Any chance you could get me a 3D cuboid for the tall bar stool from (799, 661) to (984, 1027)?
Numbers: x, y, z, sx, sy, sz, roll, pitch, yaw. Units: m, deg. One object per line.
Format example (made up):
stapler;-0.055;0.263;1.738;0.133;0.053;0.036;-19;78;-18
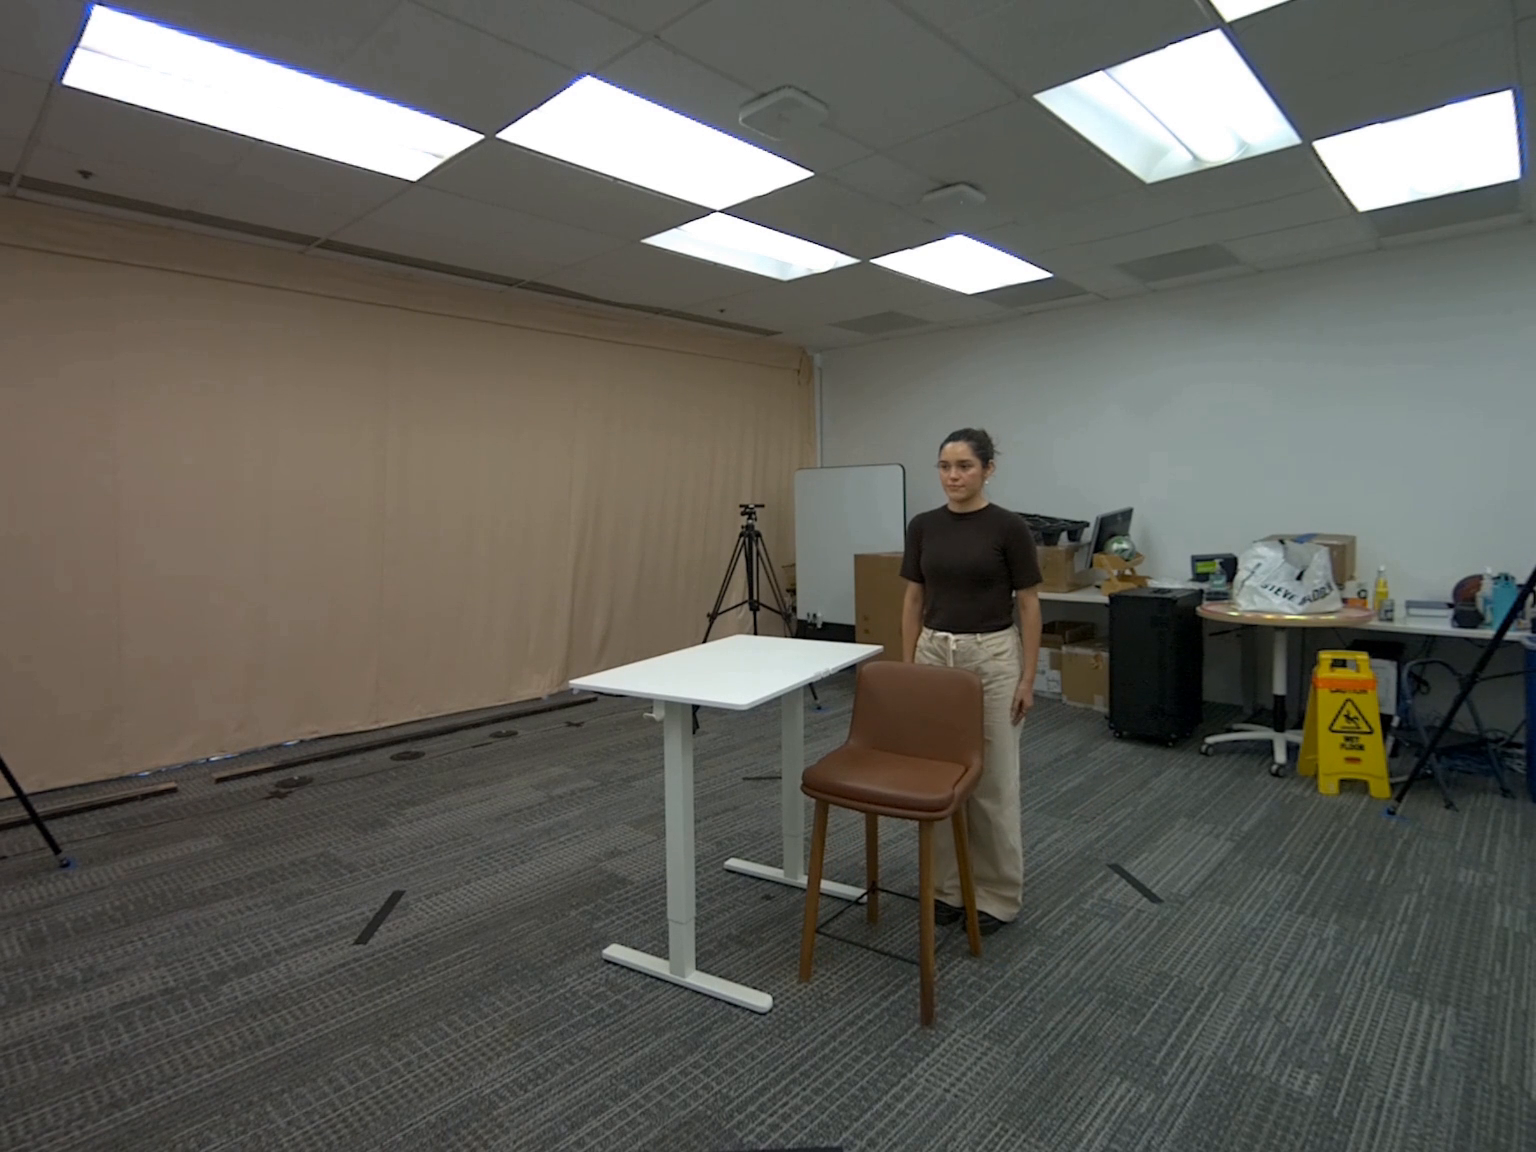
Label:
tall bar stool;0.387;0.741;2.502;0.471;0.888;0.454;3;3;35
